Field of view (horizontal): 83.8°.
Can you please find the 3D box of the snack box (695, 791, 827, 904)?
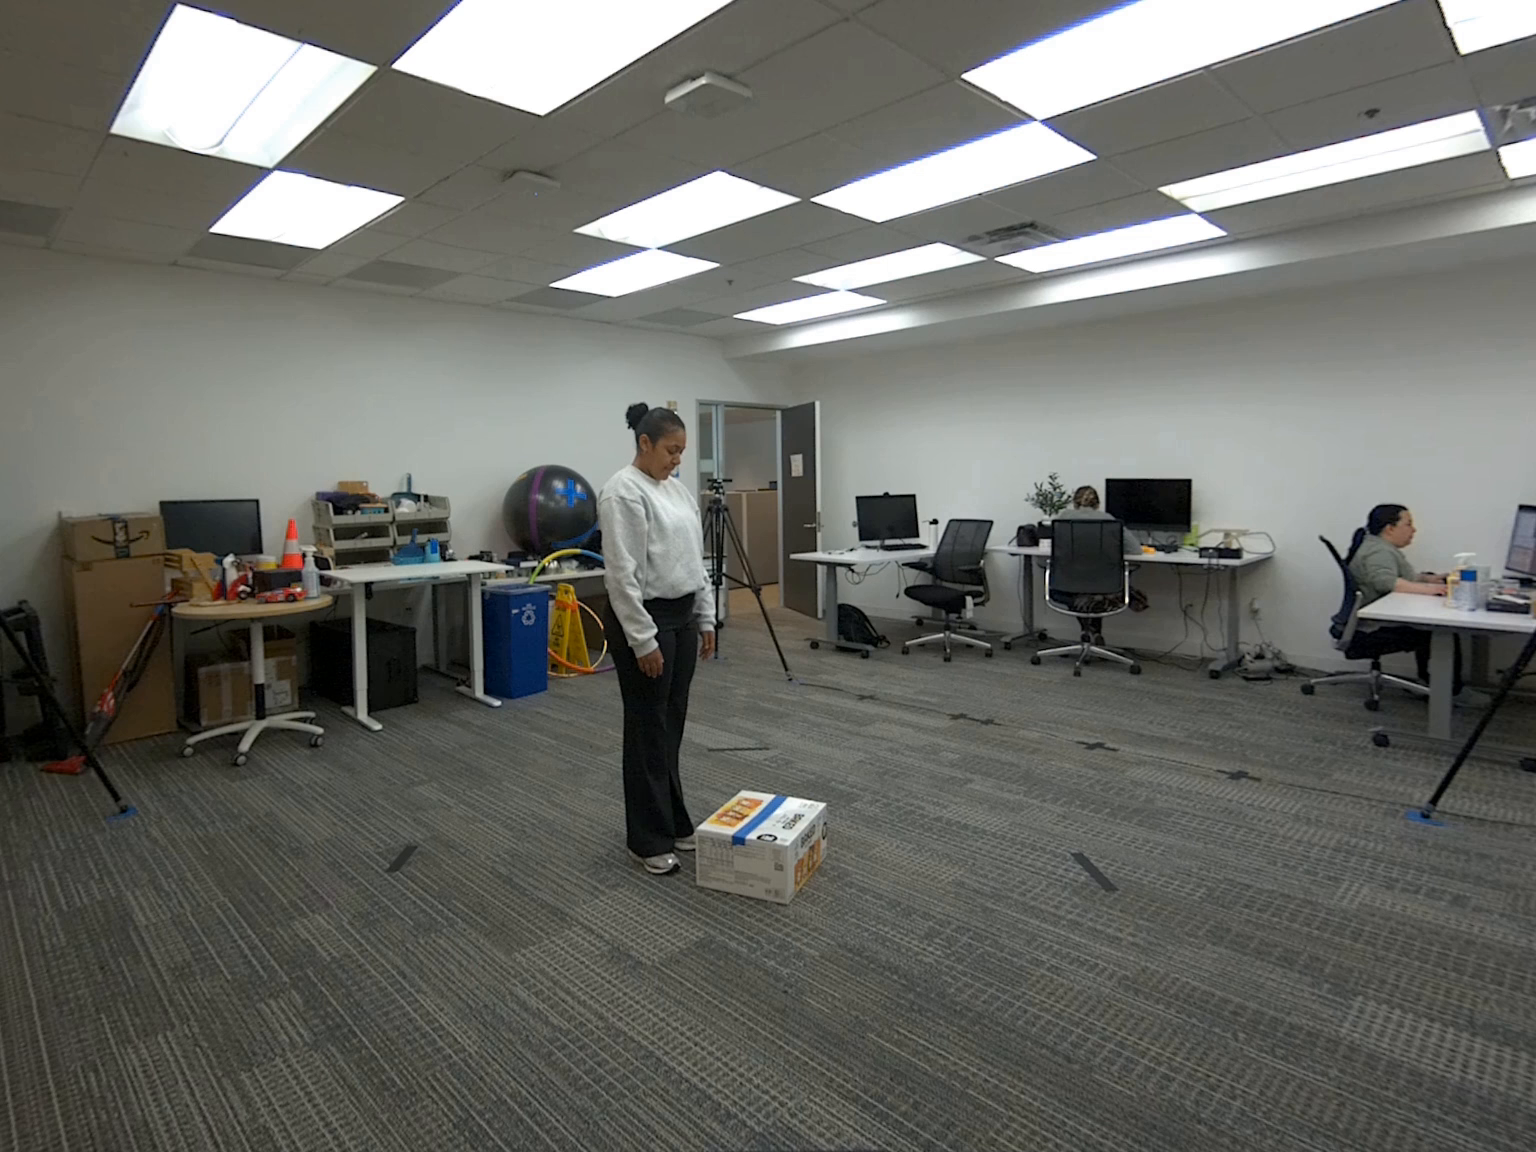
[{"bbox_3d":[-0.010,0.952,3.034,0.348,0.205,0.398,1,6,24],"label":"snack box"}]
